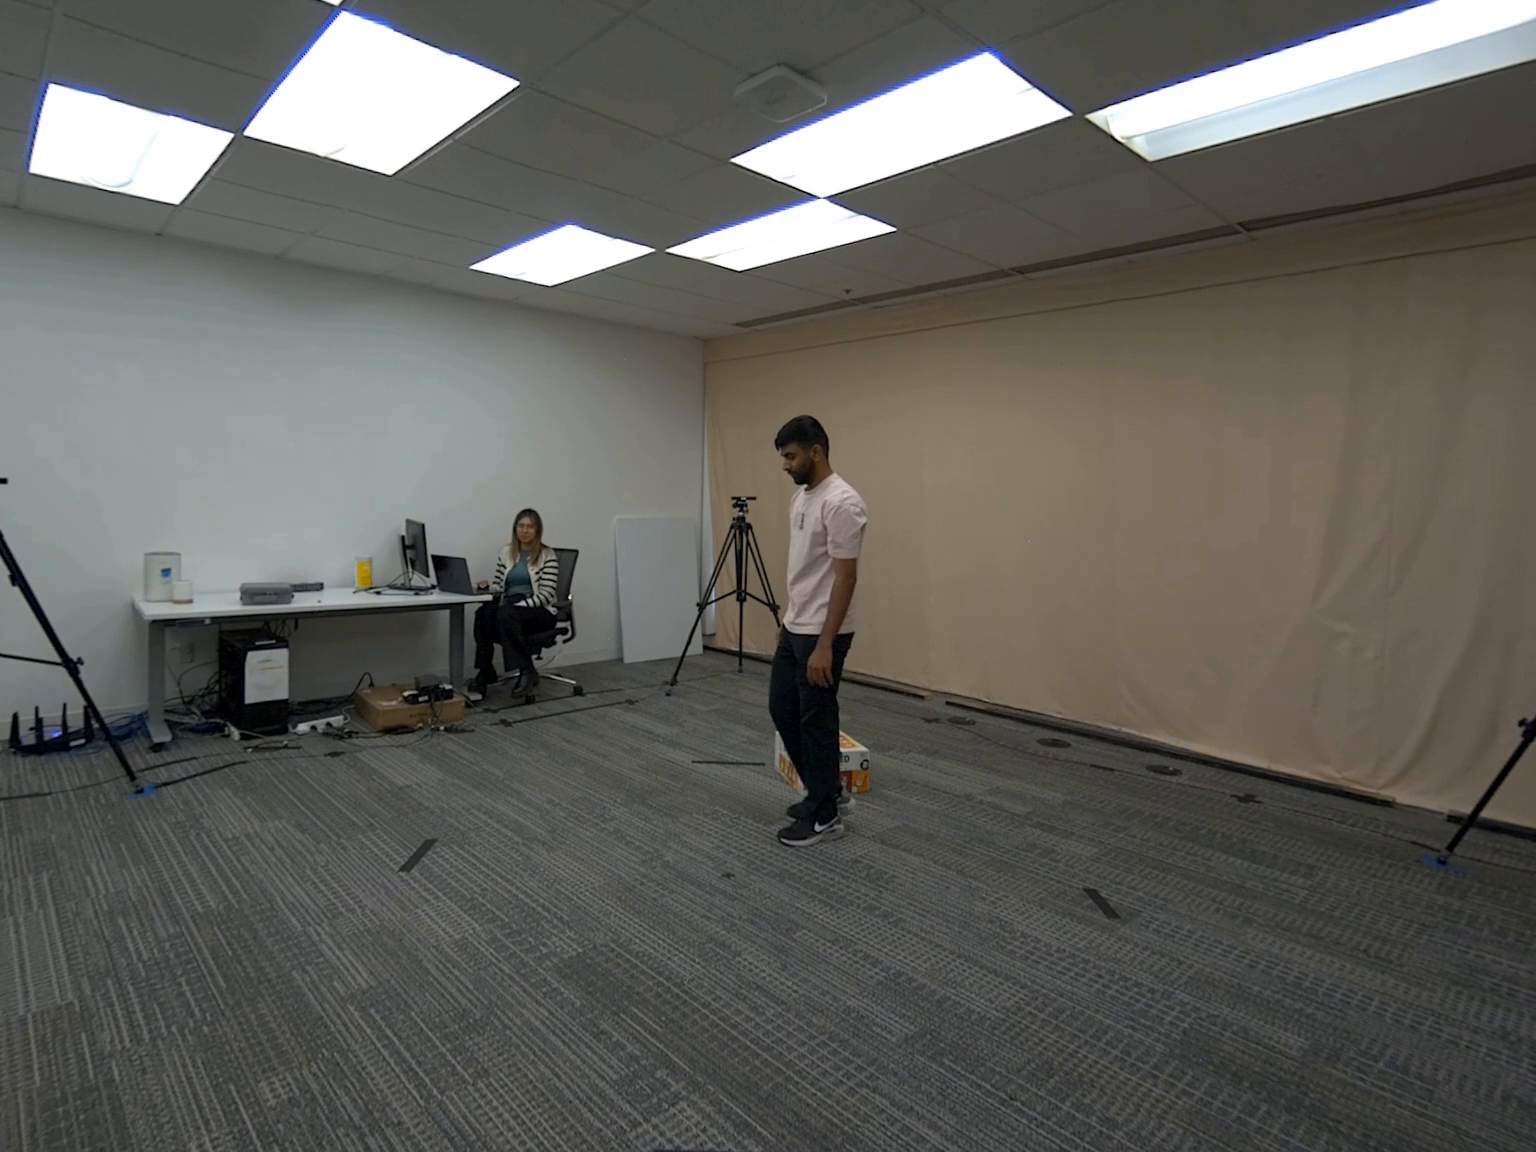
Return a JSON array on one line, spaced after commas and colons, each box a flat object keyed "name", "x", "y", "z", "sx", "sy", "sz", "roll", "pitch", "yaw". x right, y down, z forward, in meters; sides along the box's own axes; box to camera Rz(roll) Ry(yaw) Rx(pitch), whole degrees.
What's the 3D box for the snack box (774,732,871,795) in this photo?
[{"name": "snack box", "x": 0.248, "y": 0.922, "z": 4.208, "sx": 0.336, "sy": 0.205, "sz": 0.412, "roll": 0, "pitch": 5, "yaw": -17}]
